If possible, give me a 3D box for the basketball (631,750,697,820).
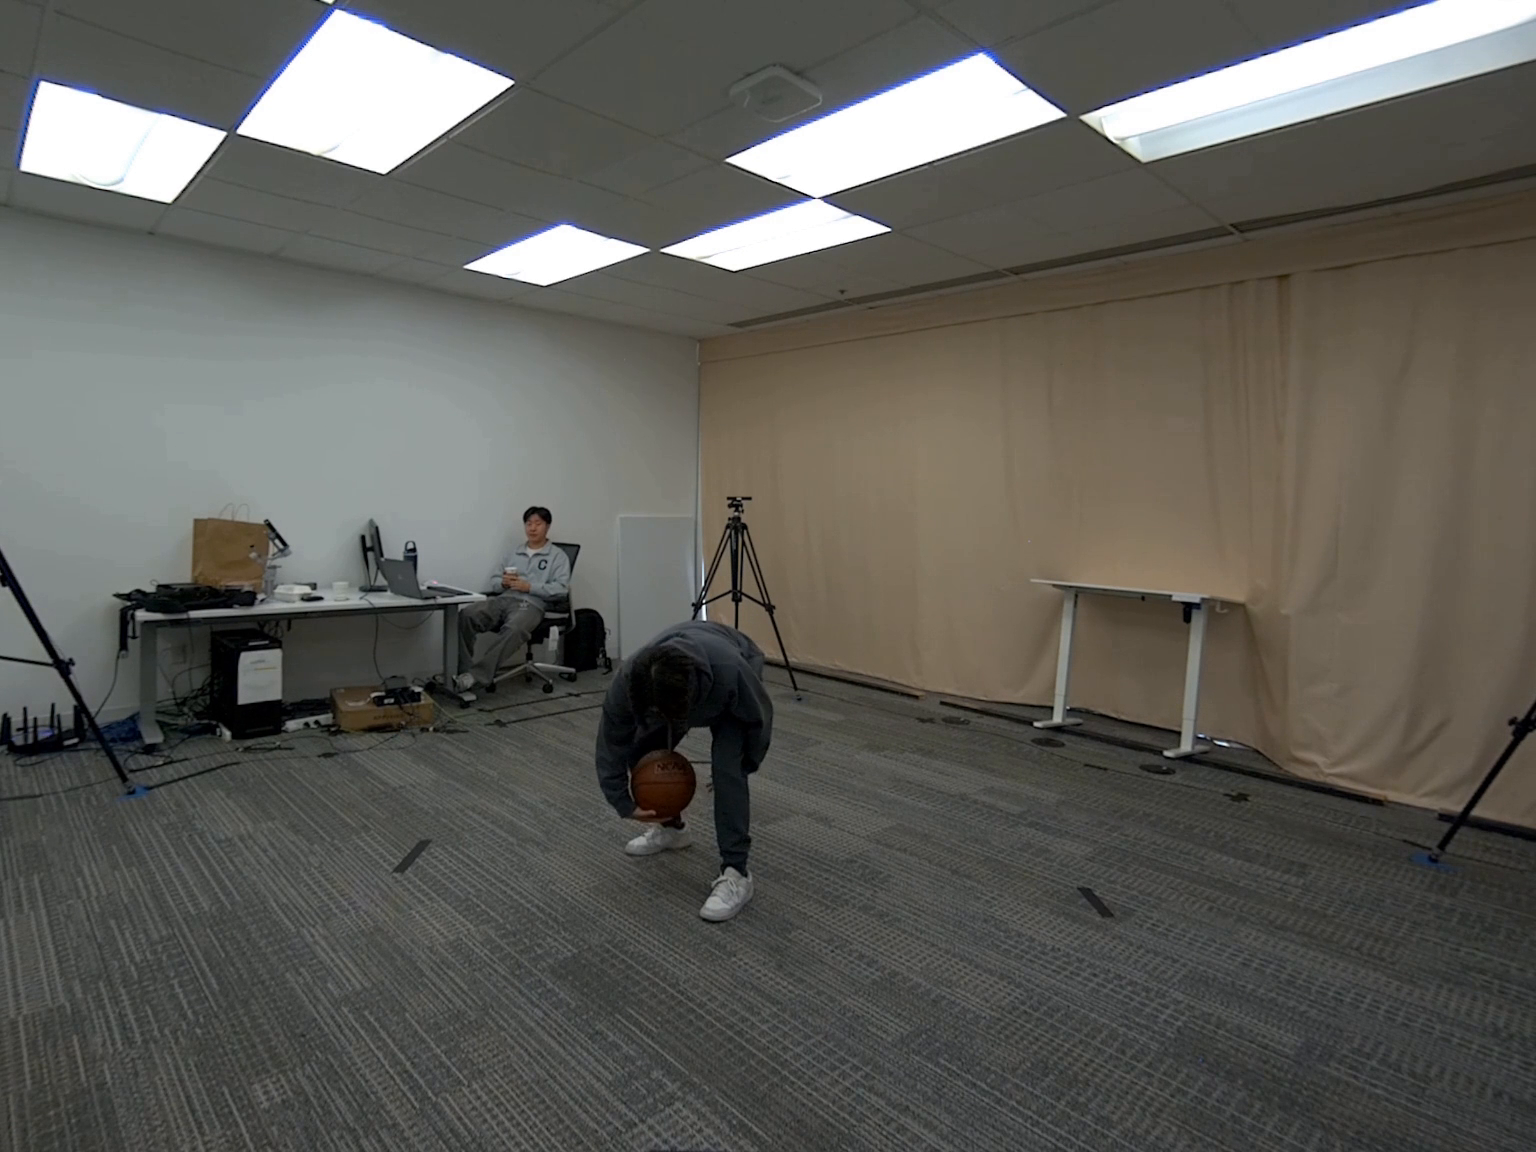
[{"bbox_3d":[-0.386,0.747,3.052,0.236,0.235,0.237,1,4,-1],"label":"basketball"}]
